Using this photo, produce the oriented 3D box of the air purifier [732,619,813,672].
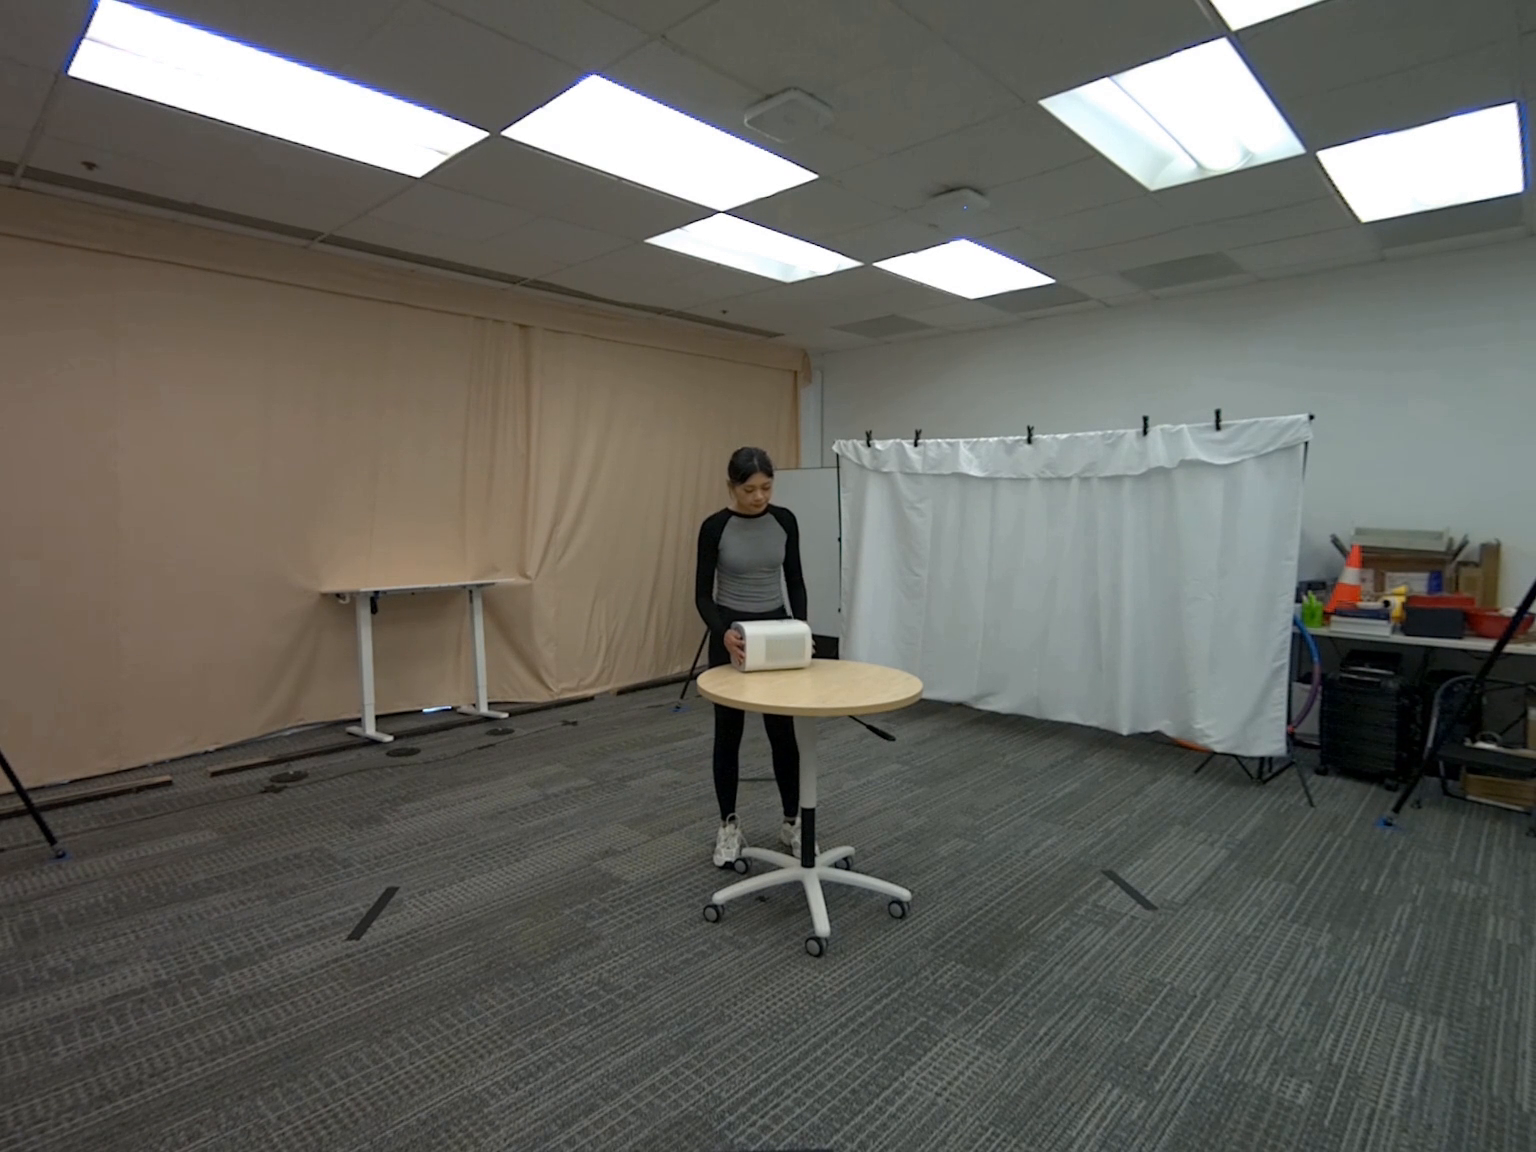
[{"bbox_3d":[0.022,0.251,3.087,0.260,0.171,0.175,-1,4,-18],"label":"air purifier"}]
